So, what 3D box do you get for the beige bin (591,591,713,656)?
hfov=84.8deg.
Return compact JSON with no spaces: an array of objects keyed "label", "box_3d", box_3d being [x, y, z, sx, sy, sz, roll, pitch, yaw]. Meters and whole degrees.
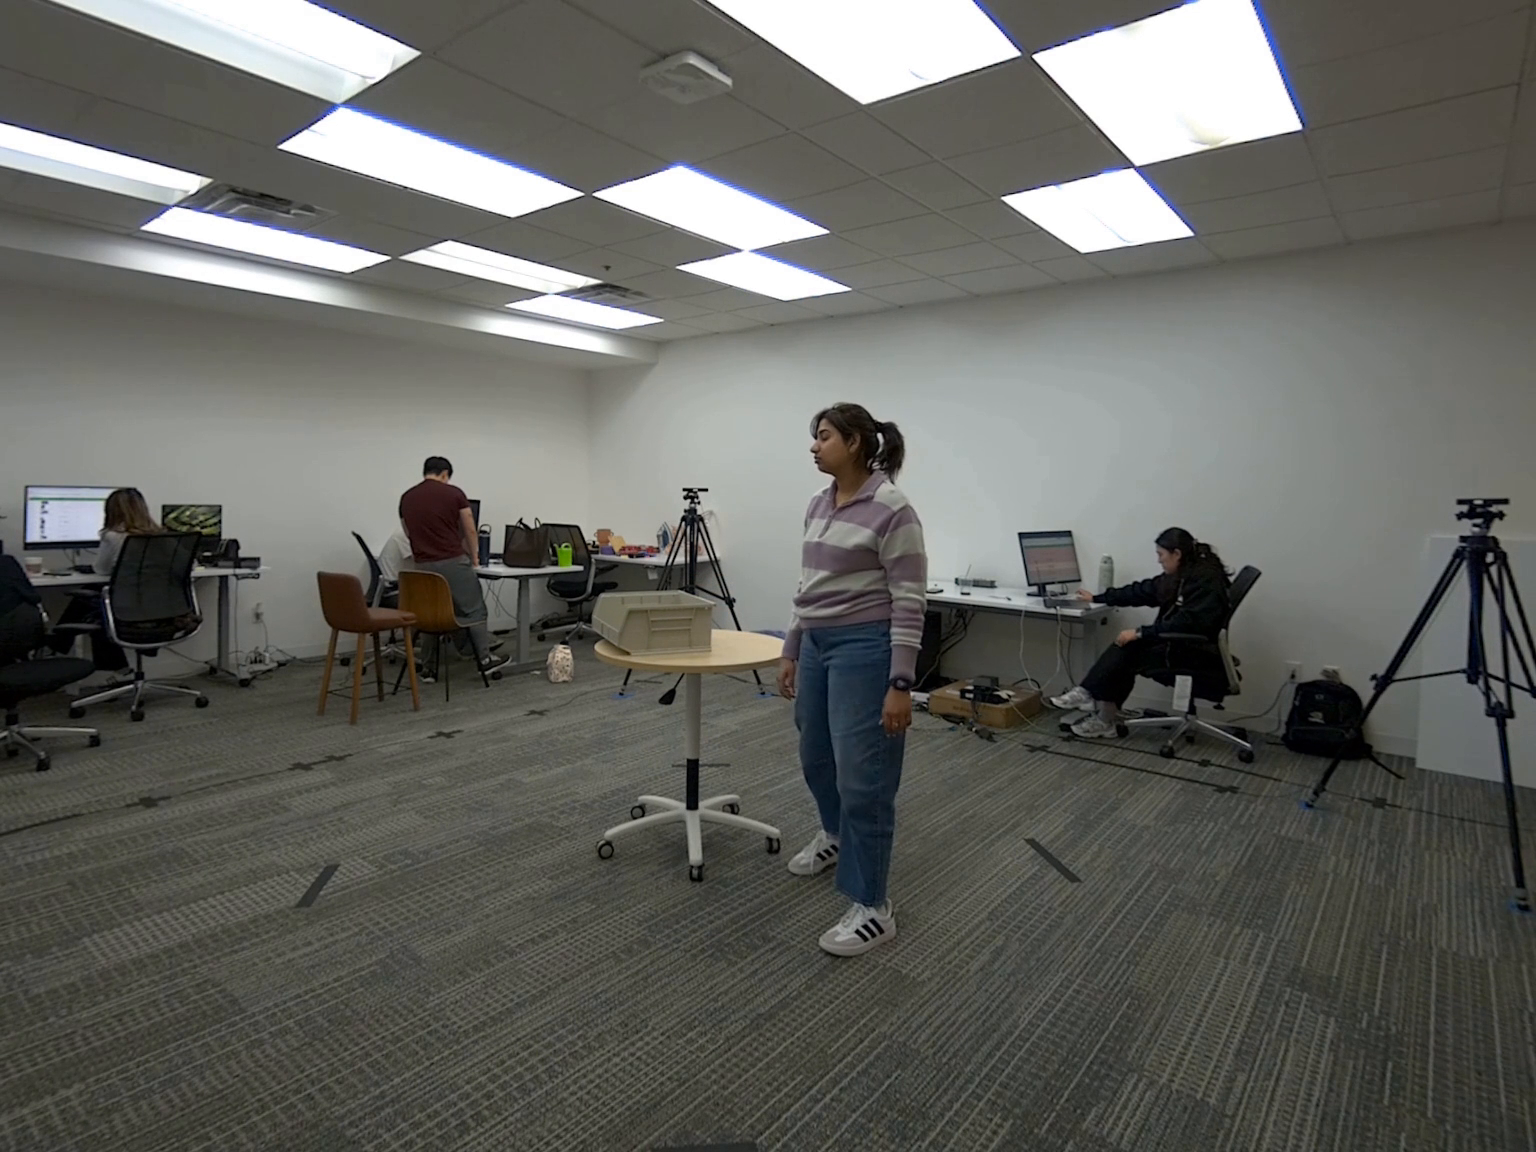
[{"label":"beige bin","box_3d":[-0.466,0.179,3.305,0.369,0.188,0.433,-1,5,-22]}]
